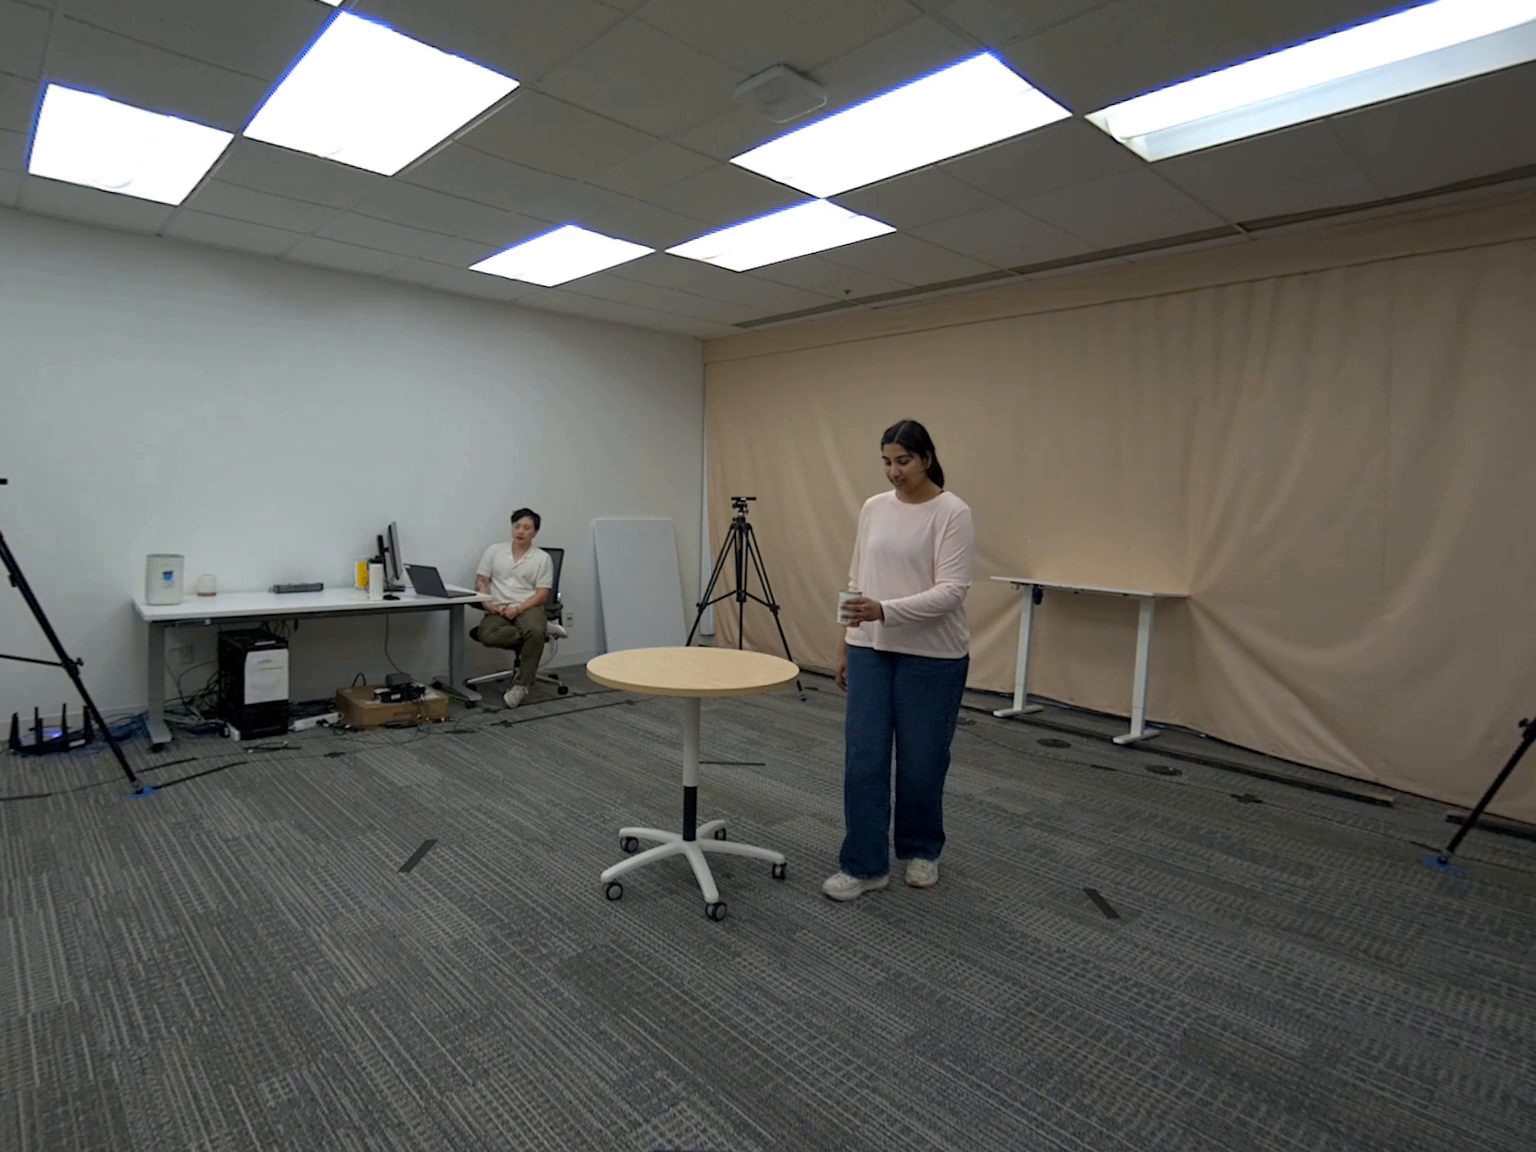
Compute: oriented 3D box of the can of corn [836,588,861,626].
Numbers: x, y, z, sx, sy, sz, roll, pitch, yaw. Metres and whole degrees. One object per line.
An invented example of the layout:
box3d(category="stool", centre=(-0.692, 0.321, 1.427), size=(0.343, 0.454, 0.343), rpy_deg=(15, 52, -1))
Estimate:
box3d(category="can of corn", centre=(0.279, 0.110, 2.714), size=(0.074, 0.111, 0.074), rpy_deg=(4, 0, -1))
